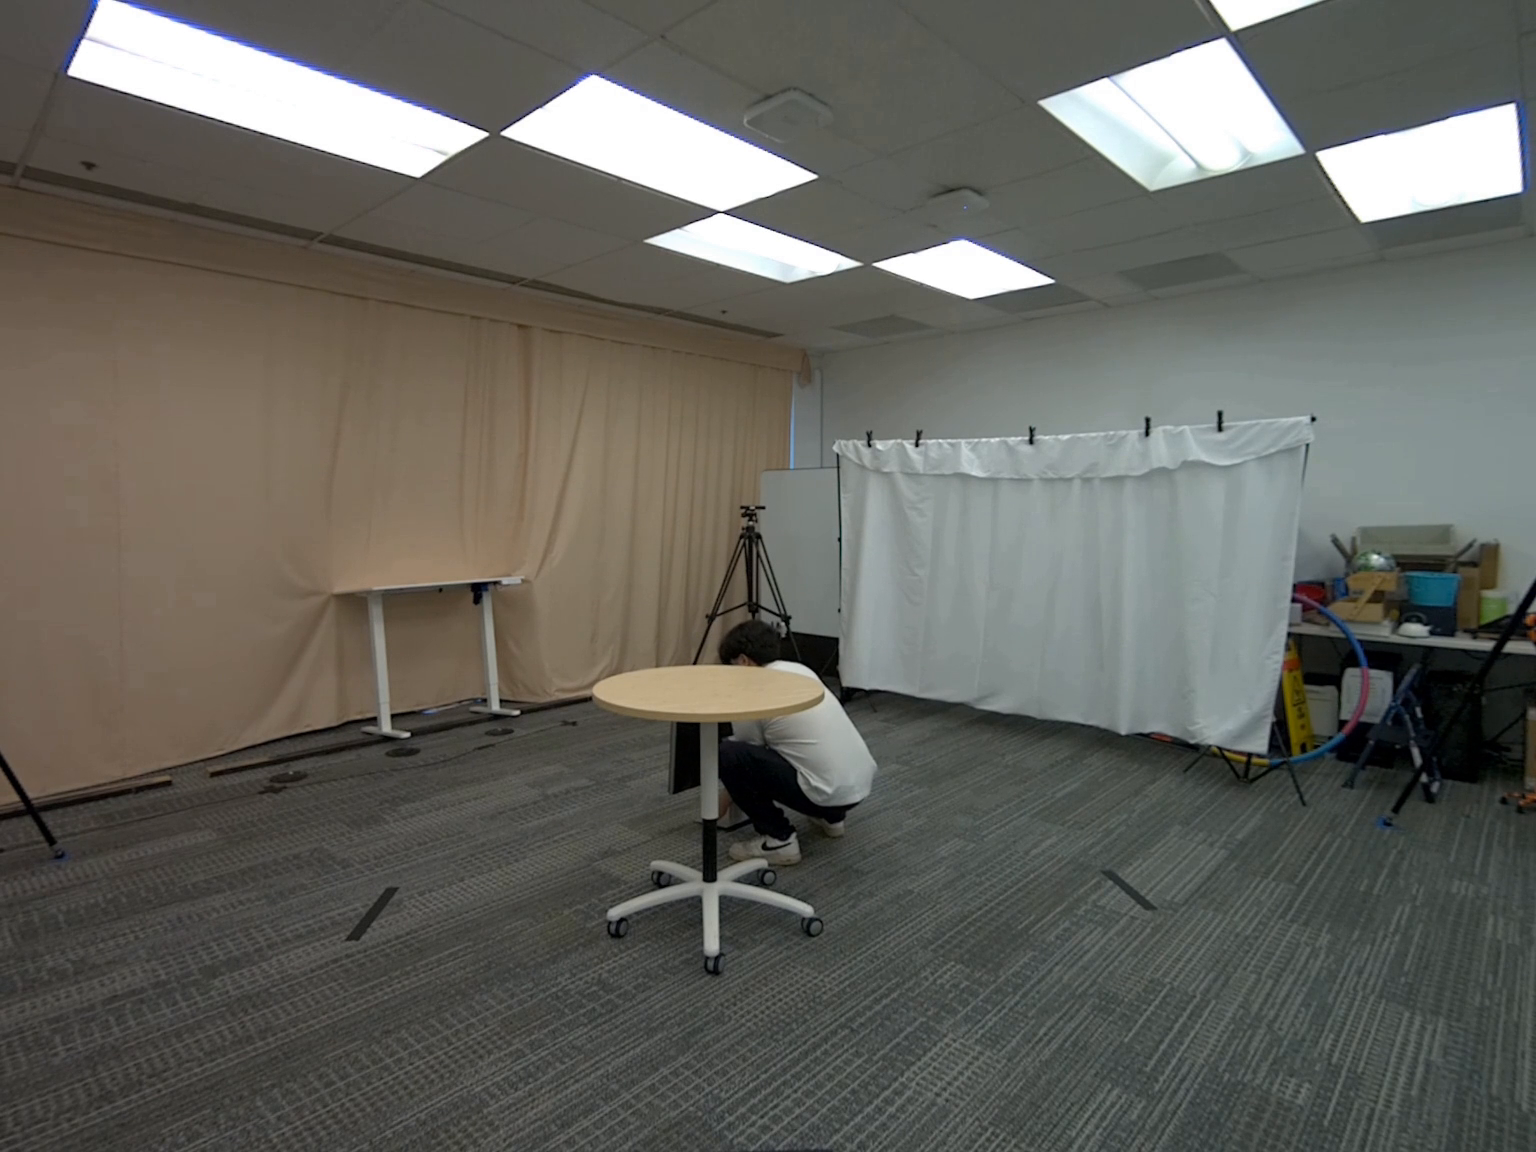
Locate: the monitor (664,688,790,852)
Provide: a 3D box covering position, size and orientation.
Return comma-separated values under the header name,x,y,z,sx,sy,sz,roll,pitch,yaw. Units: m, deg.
name,x,y,z,sx,sy,sz,roll,pitch,yaw
monitor,-0.173,0.827,3.727,0.217,0.553,0.548,2,4,43
